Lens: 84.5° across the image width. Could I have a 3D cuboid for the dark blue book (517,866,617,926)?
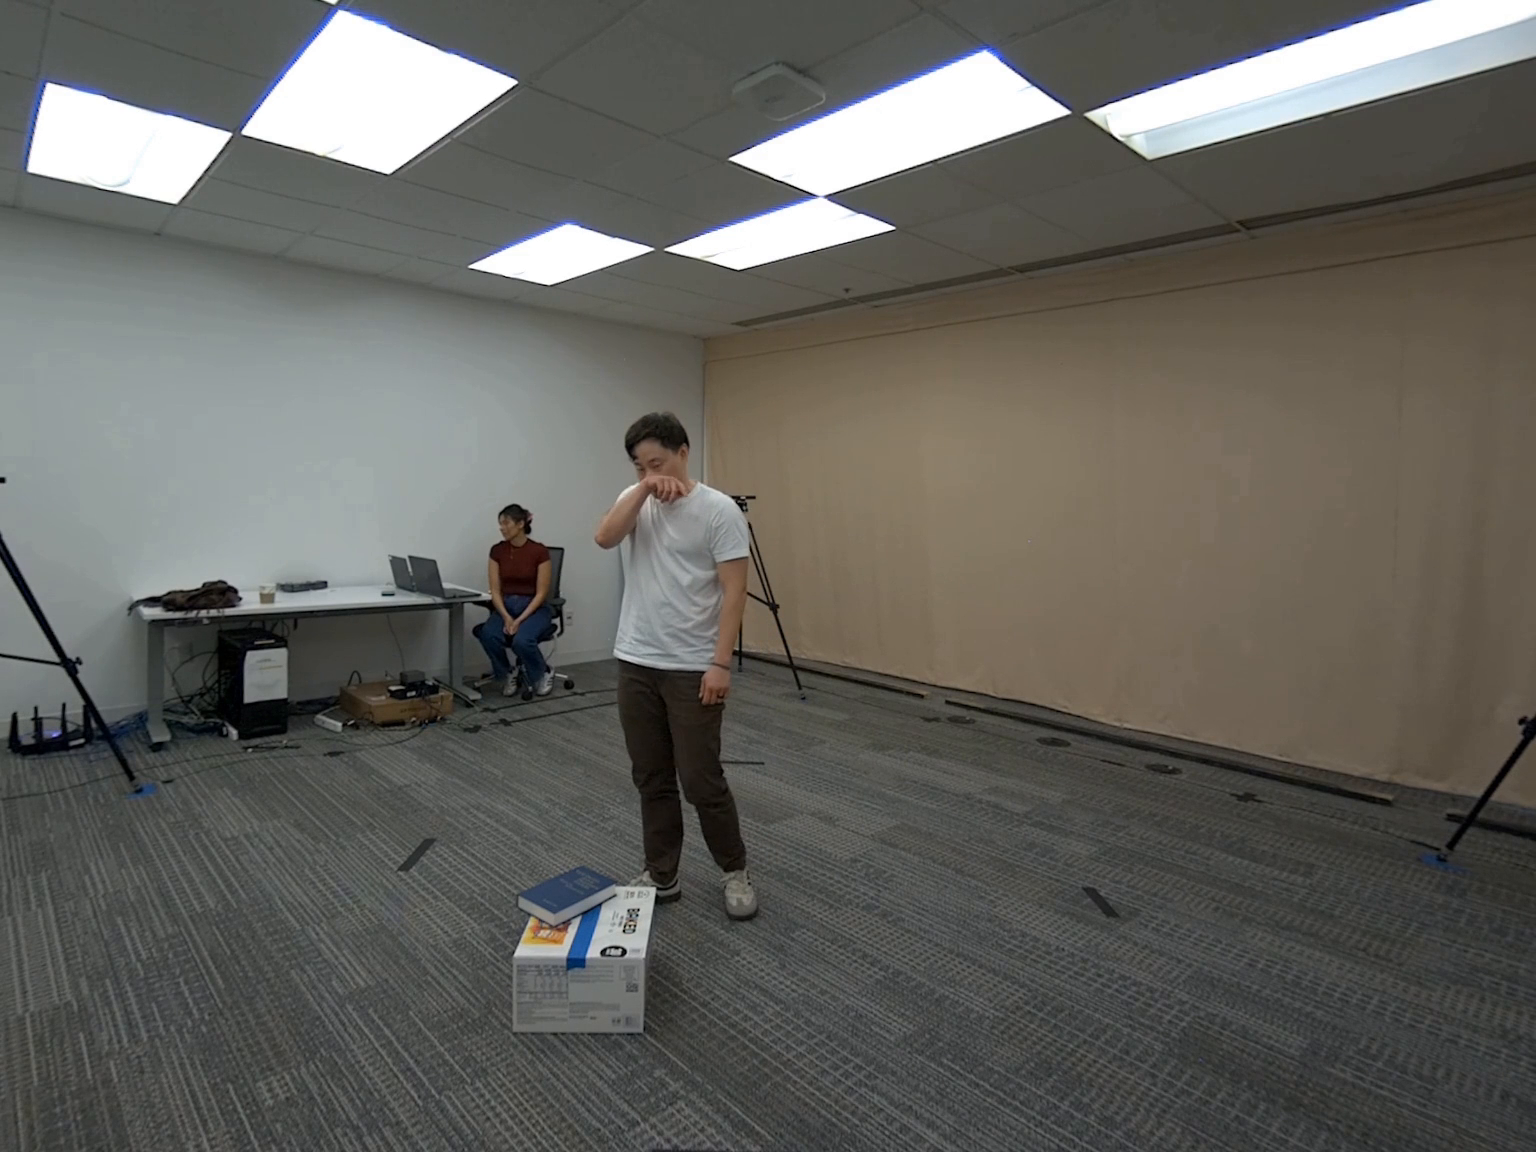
[{"bbox_3d":[-0.582,0.932,2.449,0.167,0.045,0.240,7,8,36],"label":"dark blue book"}]
